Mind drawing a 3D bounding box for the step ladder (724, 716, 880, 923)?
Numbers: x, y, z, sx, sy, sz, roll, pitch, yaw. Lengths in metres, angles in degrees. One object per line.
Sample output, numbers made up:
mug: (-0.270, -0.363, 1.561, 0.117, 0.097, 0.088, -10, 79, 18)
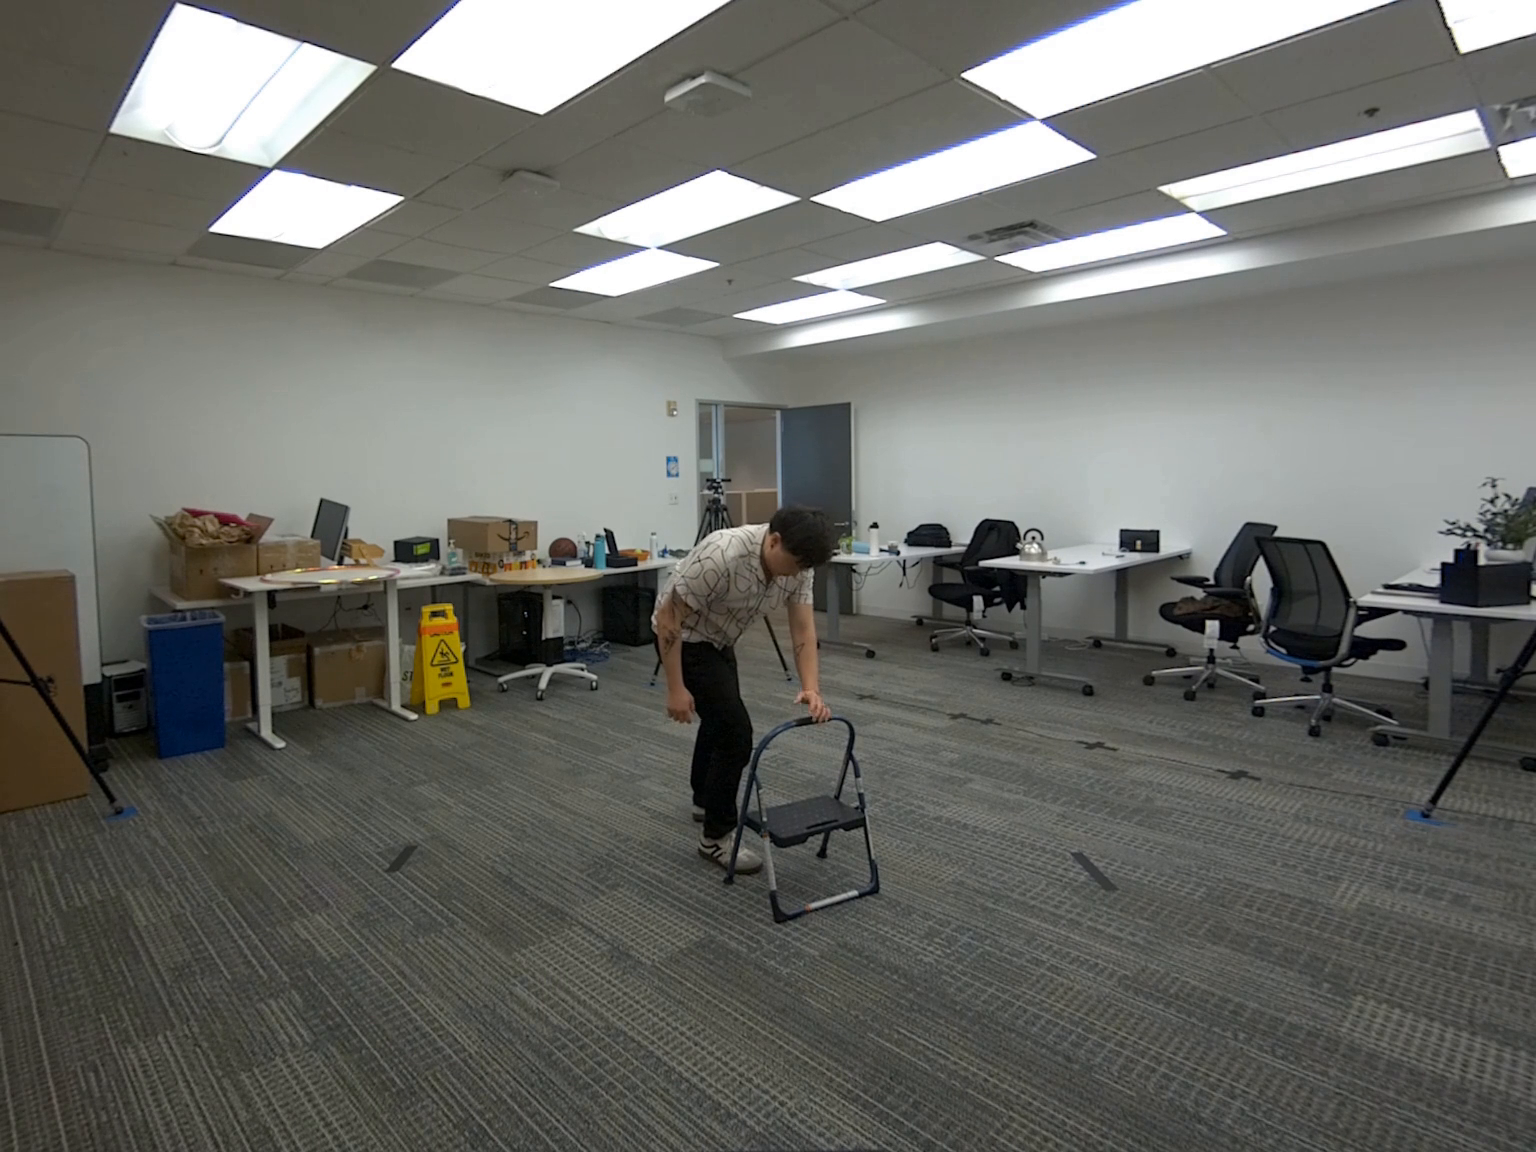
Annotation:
step ladder: (0.111, 0.759, 2.901, 0.420, 0.604, 0.359, -3, 5, -31)
